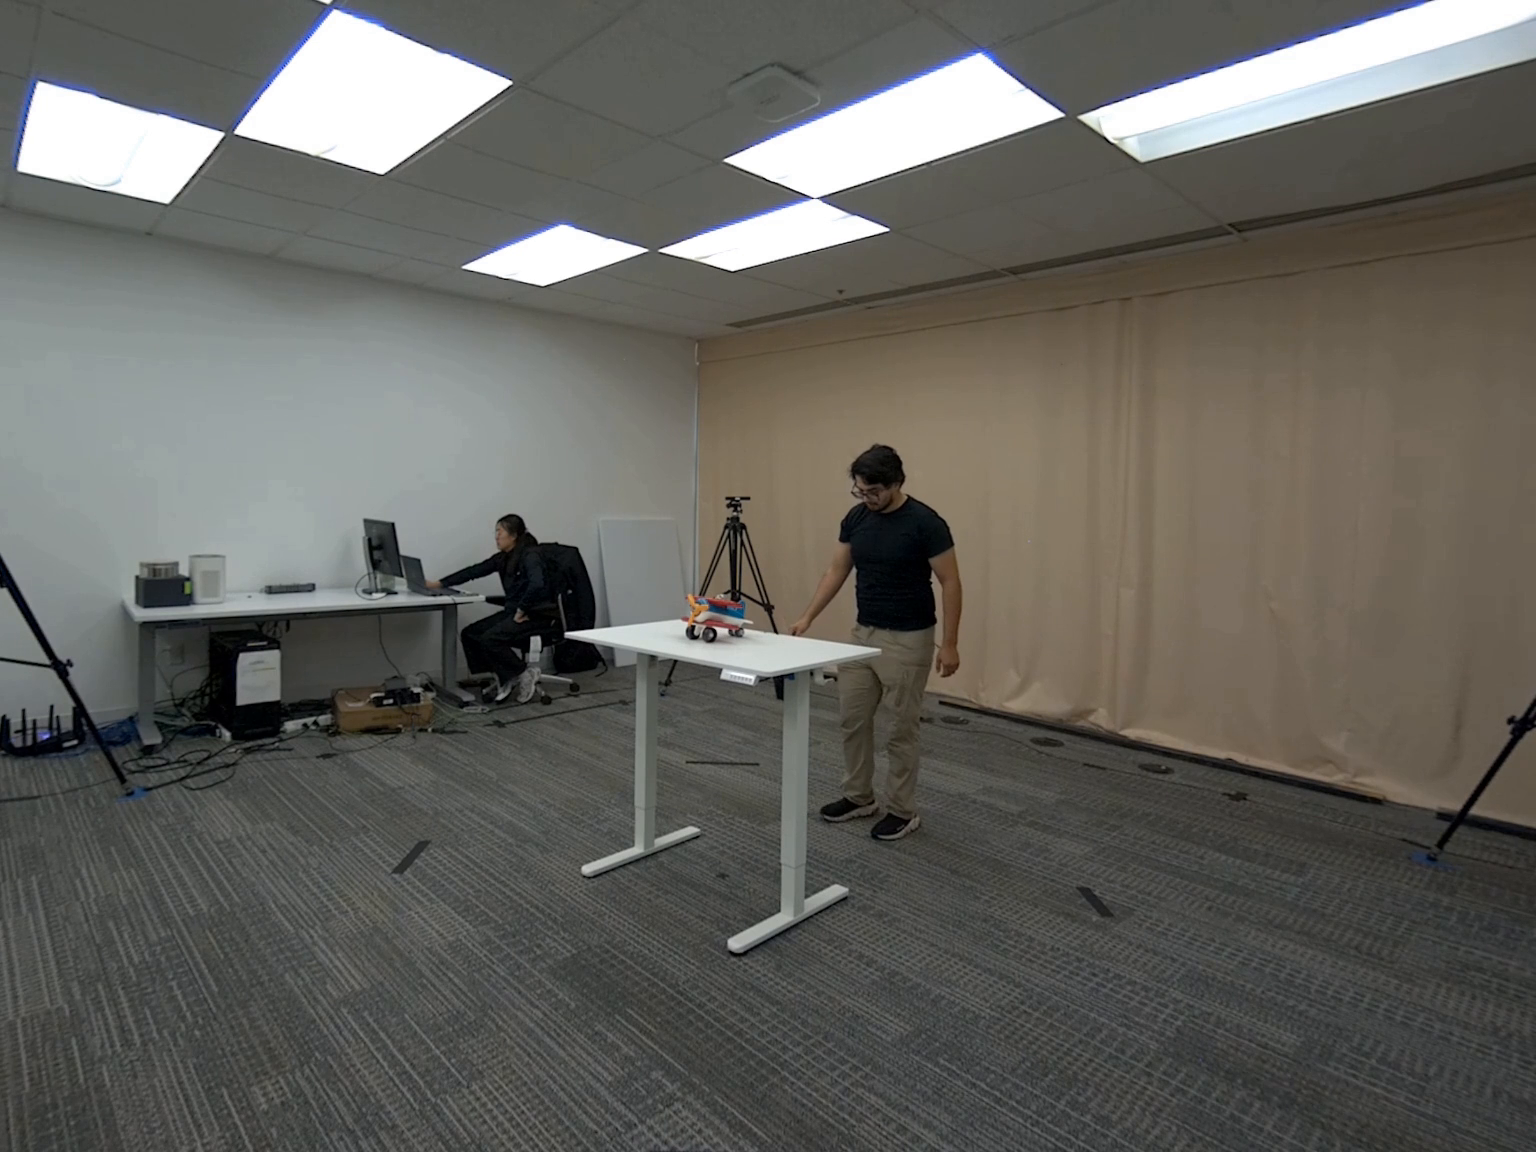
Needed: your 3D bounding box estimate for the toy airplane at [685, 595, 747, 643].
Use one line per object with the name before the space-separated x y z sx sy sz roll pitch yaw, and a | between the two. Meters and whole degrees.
toy airplane | -0.198 0.150 3.050 0.254 0.156 0.256 2 5 16
